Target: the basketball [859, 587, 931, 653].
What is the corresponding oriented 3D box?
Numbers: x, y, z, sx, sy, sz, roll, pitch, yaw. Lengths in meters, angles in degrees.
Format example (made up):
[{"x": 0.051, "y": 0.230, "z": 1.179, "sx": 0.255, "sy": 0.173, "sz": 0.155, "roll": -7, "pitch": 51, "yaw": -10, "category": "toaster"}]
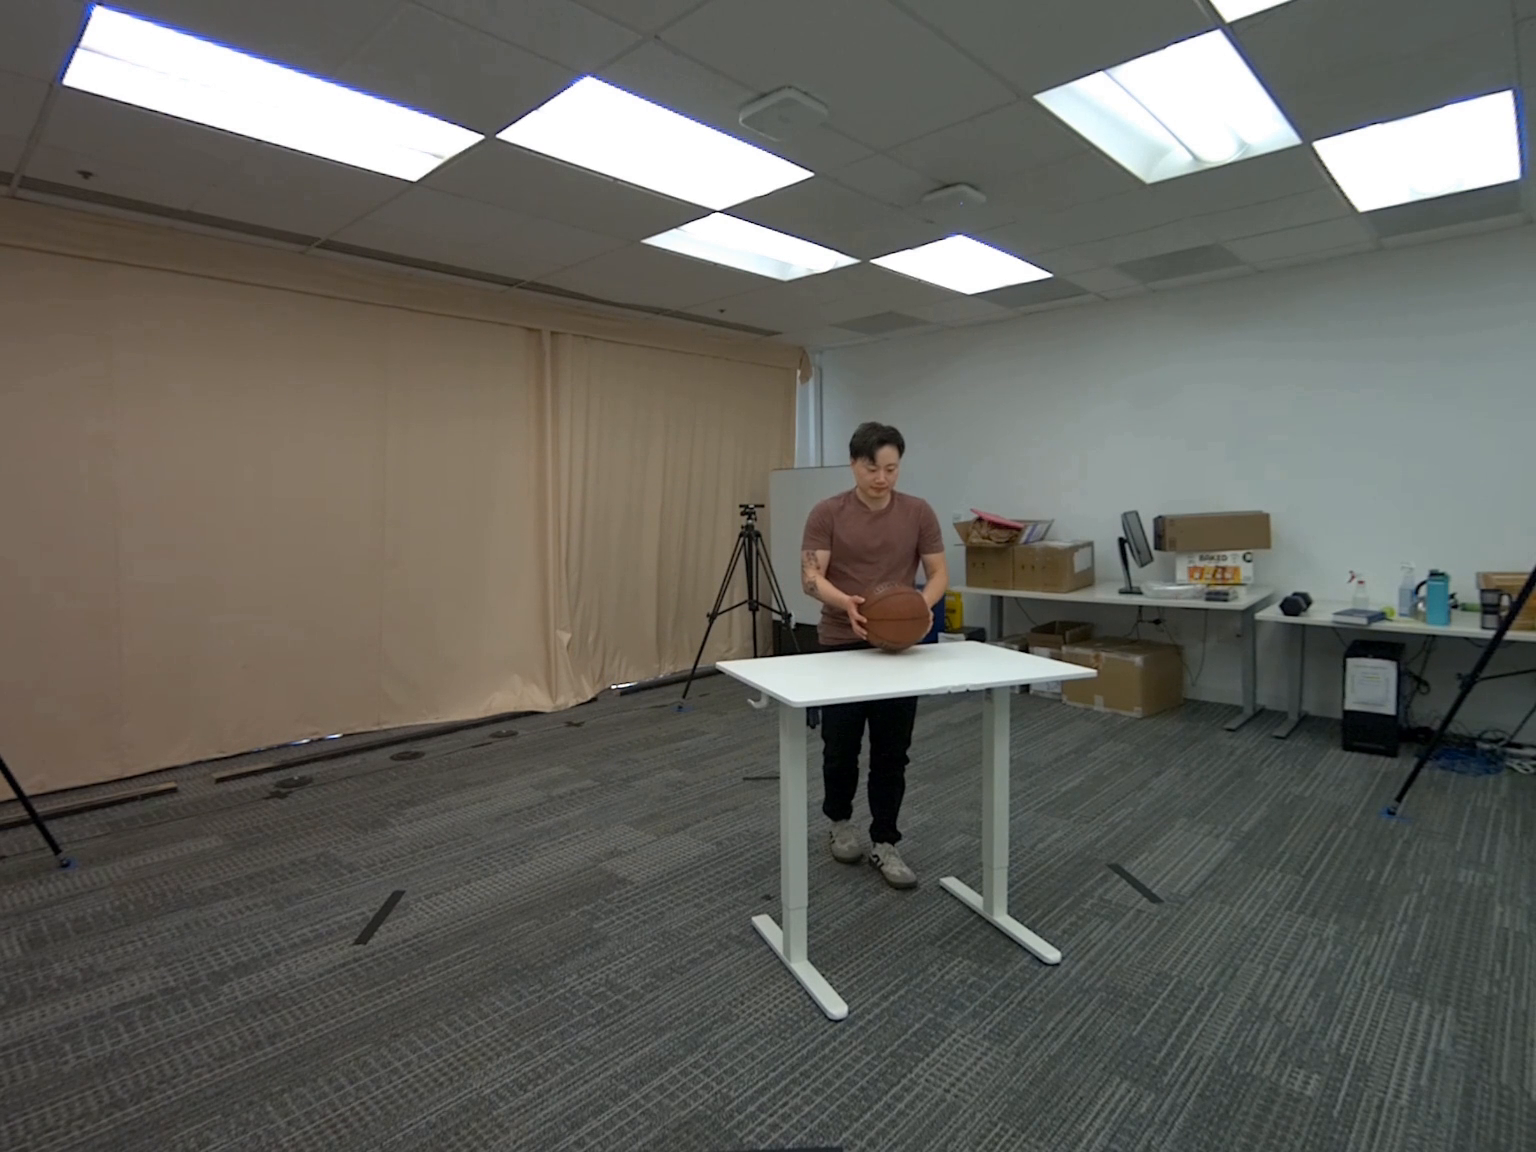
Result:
[{"x": 0.419, "y": 0.138, "z": 2.850, "sx": 0.236, "sy": 0.235, "sz": 0.237, "roll": -1, "pitch": 4, "yaw": -2, "category": "basketball"}]
